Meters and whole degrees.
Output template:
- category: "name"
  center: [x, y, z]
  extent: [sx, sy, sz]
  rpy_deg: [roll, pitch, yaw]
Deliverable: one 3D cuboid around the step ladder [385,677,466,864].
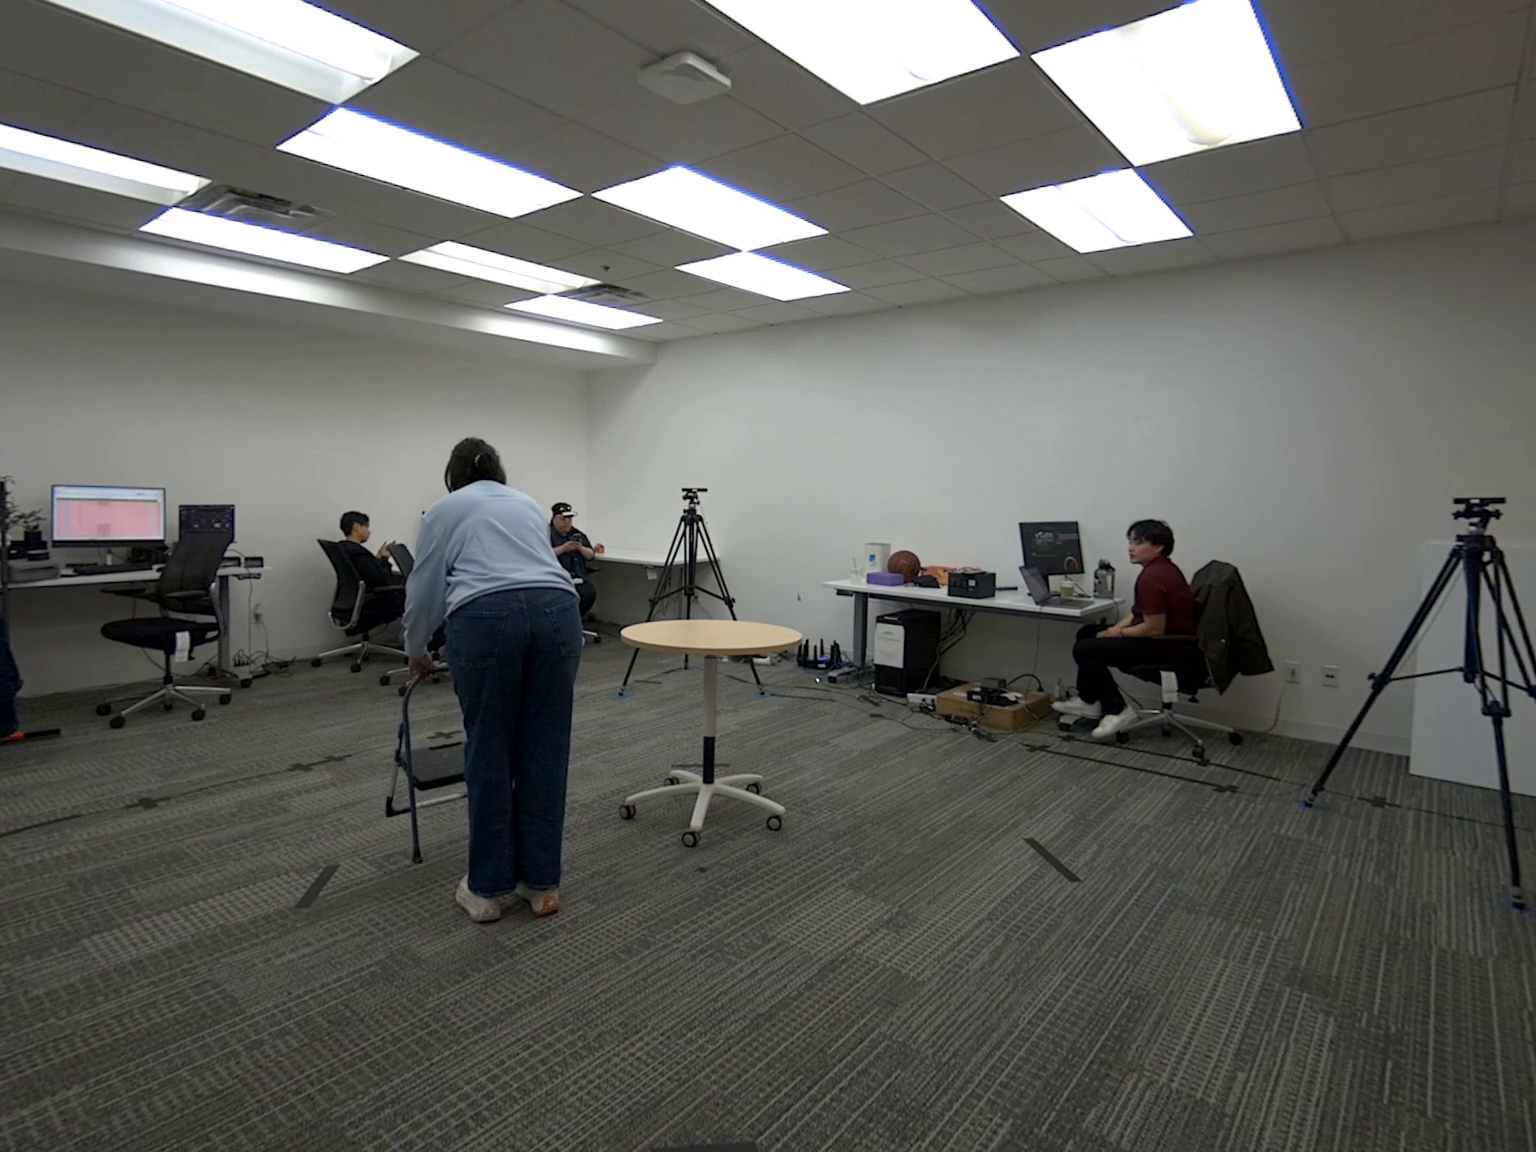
- category: "step ladder"
  center: [-1.155, 0.639, 3.140]
  extent: [0.418, 0.600, 0.363]
  rpy_deg: [-4, 16, -42]
